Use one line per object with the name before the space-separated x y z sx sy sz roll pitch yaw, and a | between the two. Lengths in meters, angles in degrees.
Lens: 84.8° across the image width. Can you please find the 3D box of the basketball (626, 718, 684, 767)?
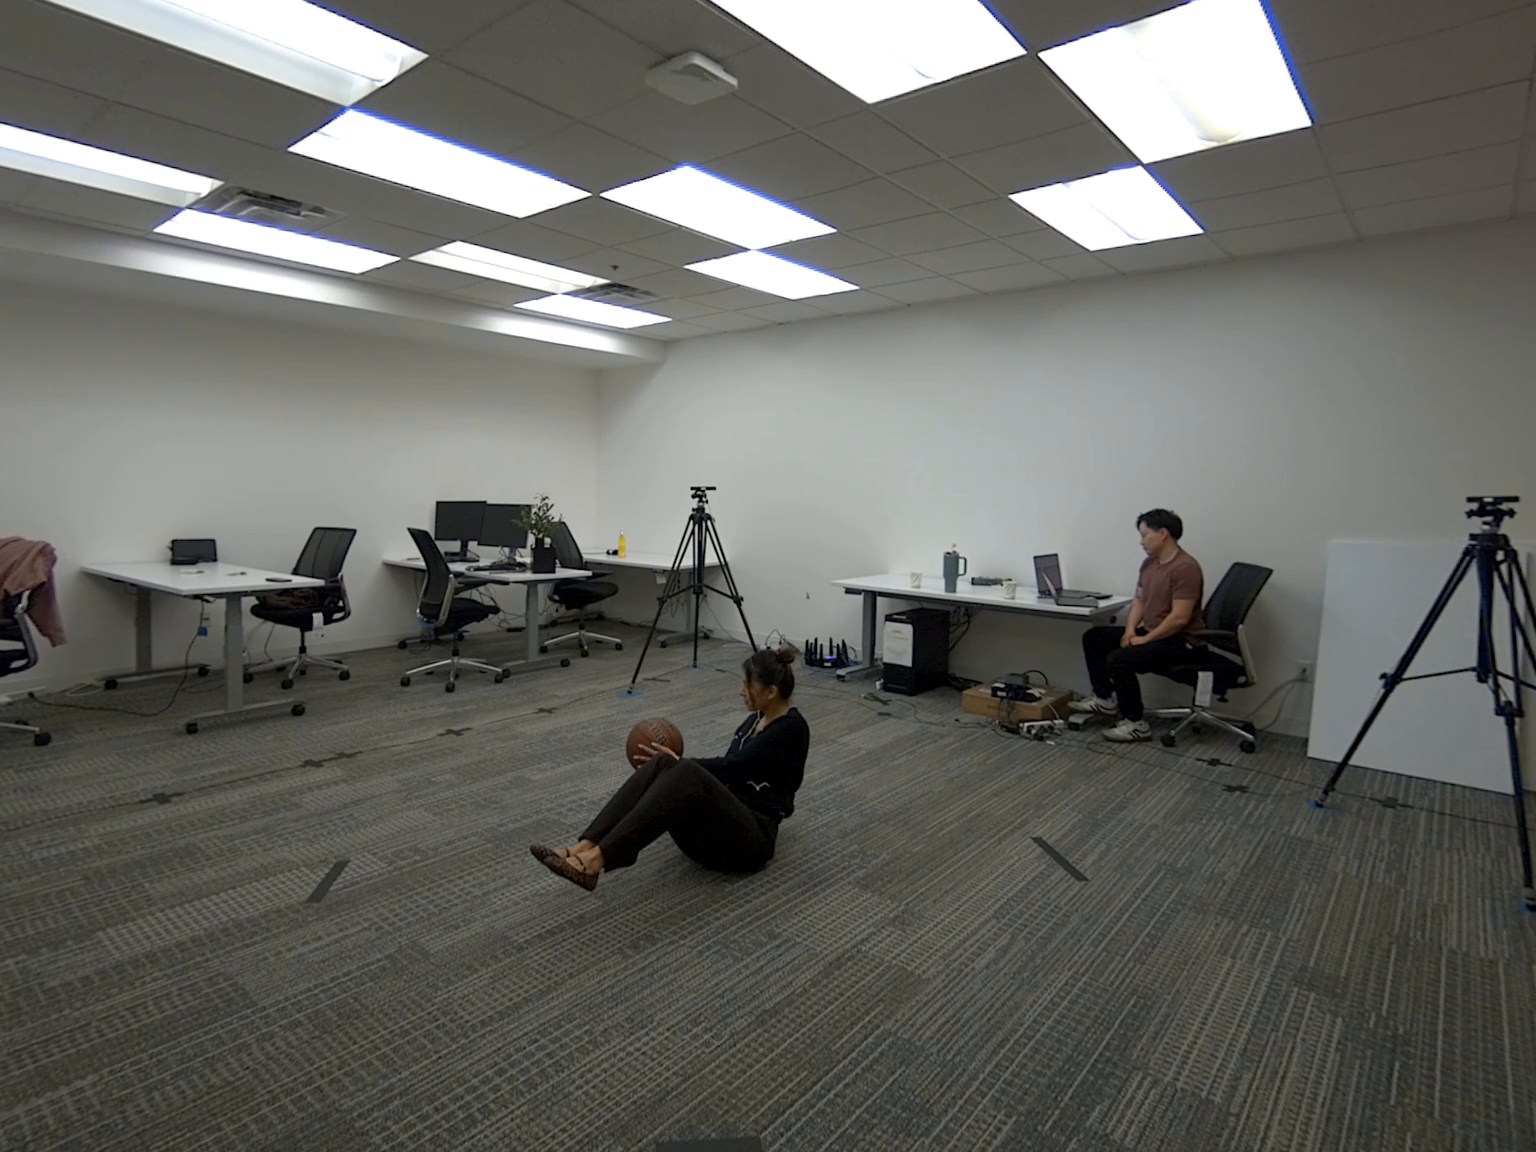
basketball | -0.466 0.689 3.460 0.235 0.235 0.237 1 4 -2
